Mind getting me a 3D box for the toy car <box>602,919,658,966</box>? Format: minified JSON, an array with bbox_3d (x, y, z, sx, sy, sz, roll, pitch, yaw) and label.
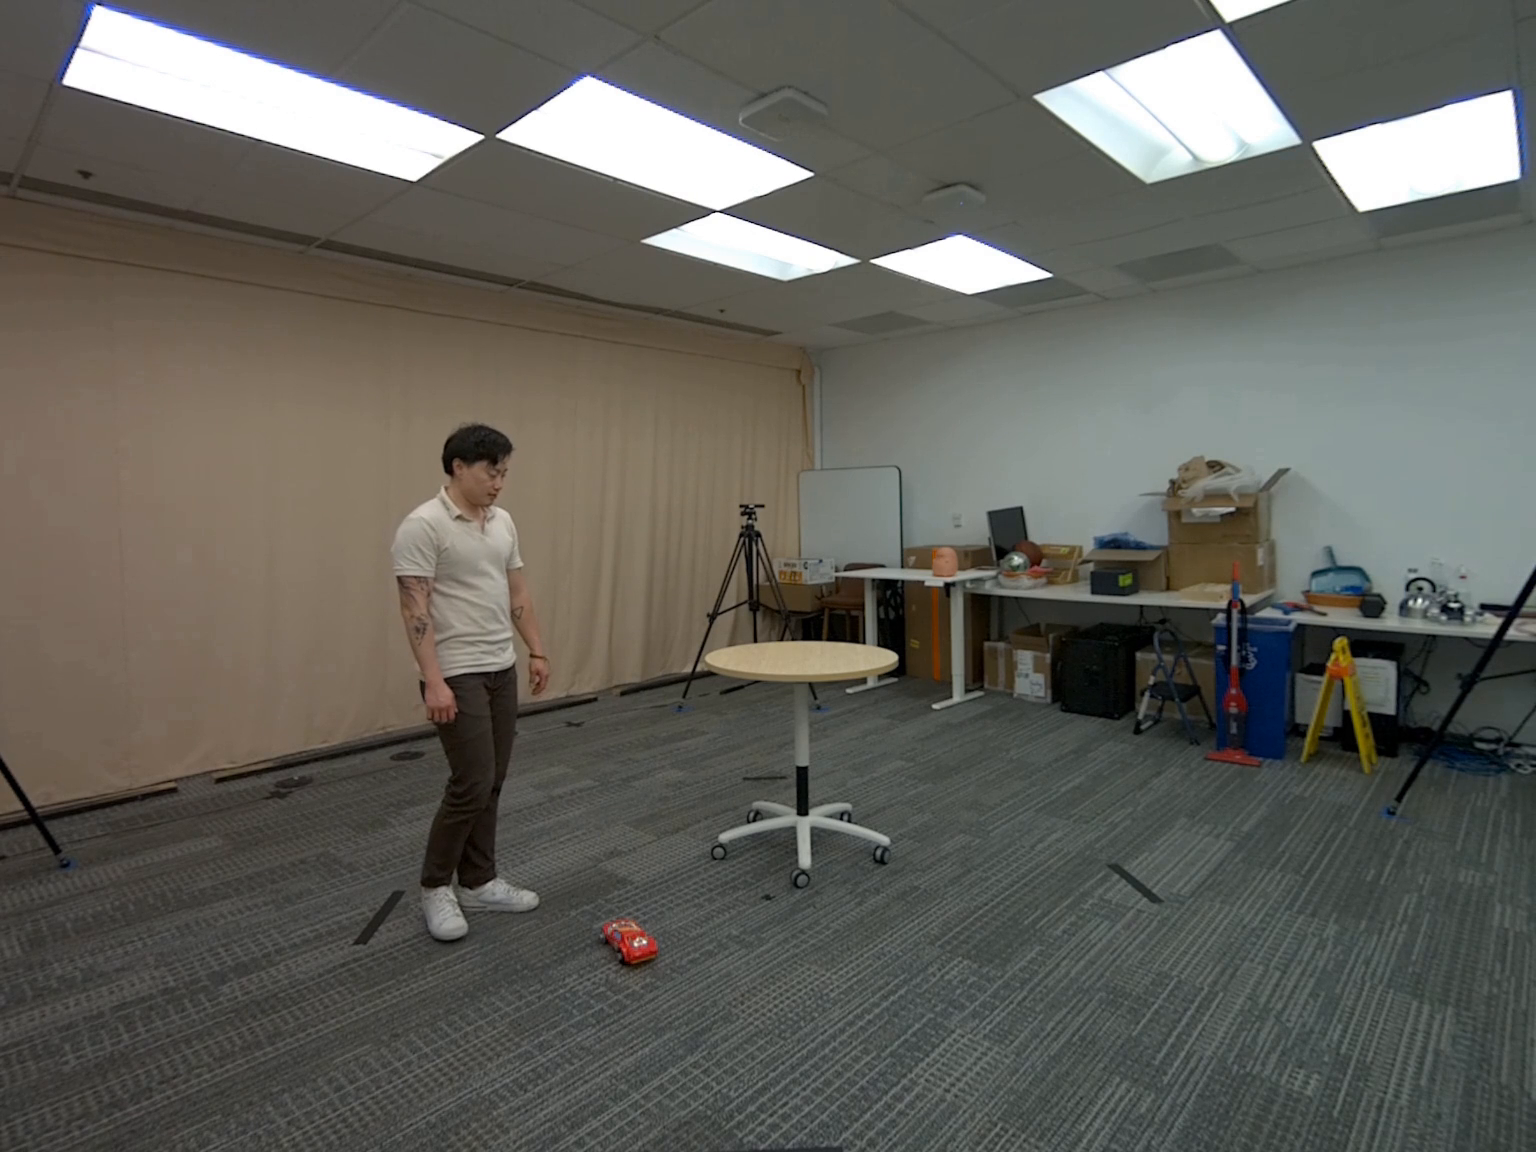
[{"bbox_3d":[-0.433,1.151,2.619,0.127,0.083,0.260,-4,-6,-32],"label":"toy car"}]
